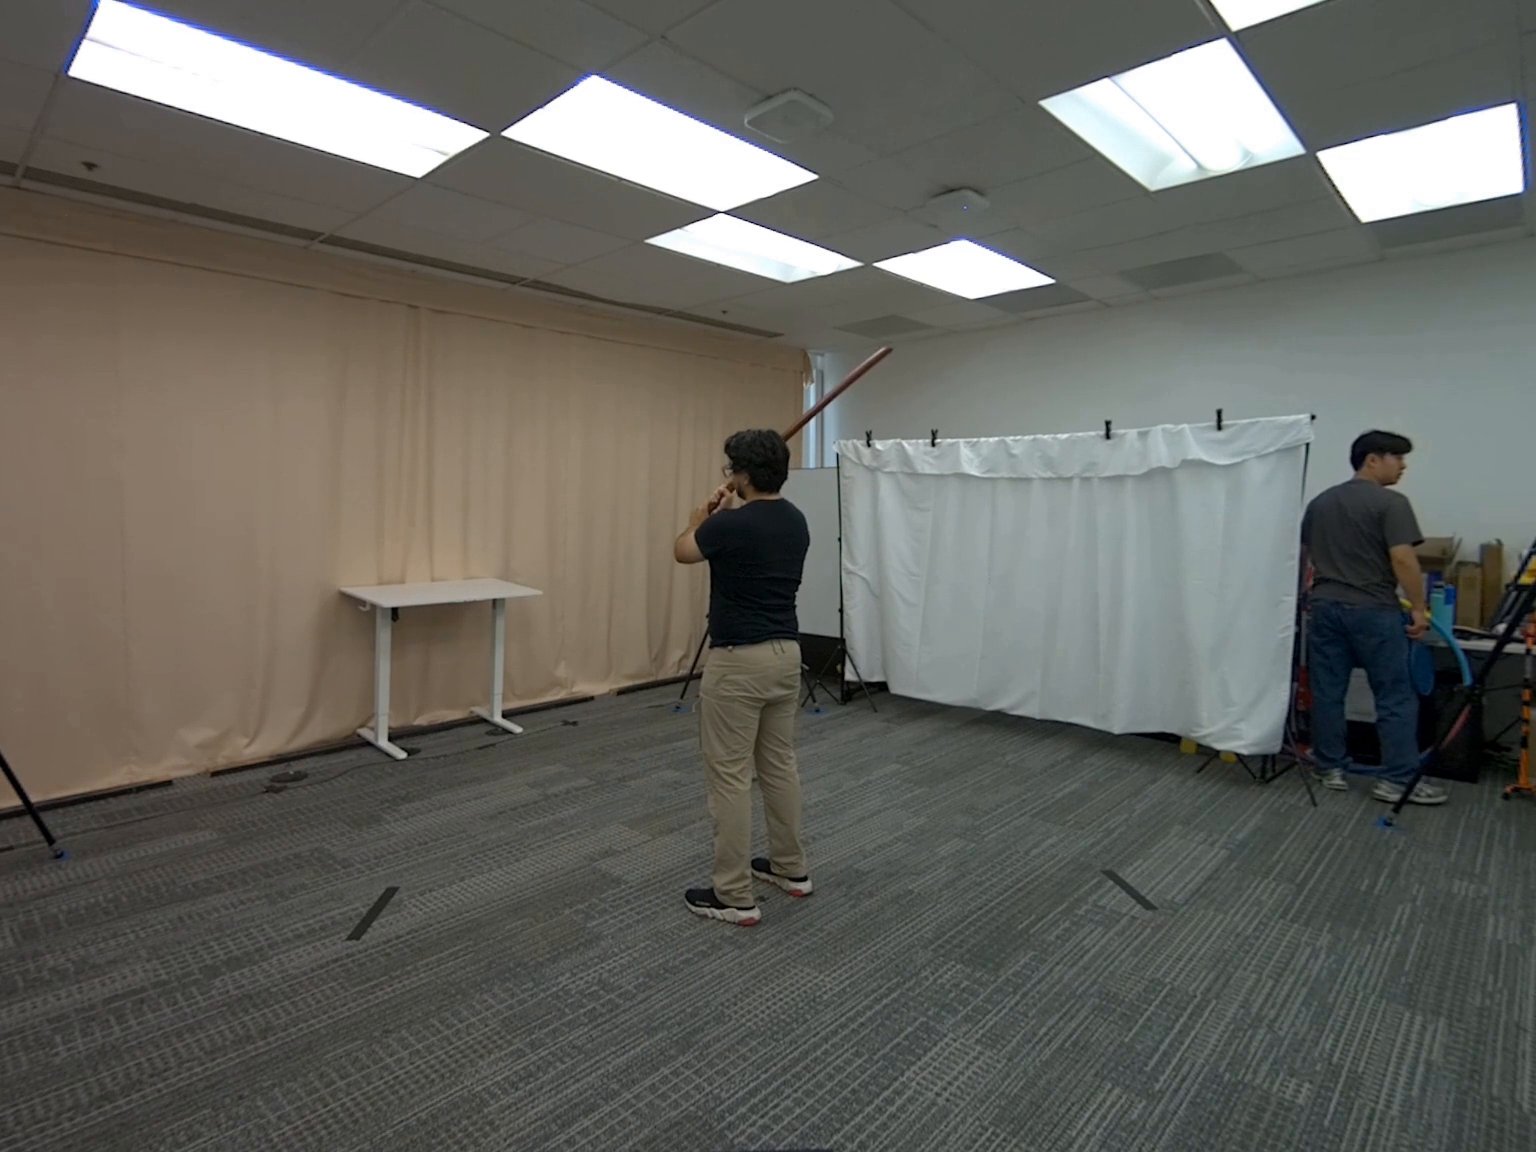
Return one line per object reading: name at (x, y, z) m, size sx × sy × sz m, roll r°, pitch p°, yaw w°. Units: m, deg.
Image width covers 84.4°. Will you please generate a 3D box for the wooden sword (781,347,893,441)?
wooden sword at (0.053, -0.489, 3.096) m, size 1.035 × 0.050 × 0.024 m, roll -40°, pitch 19°, yaw 28°
